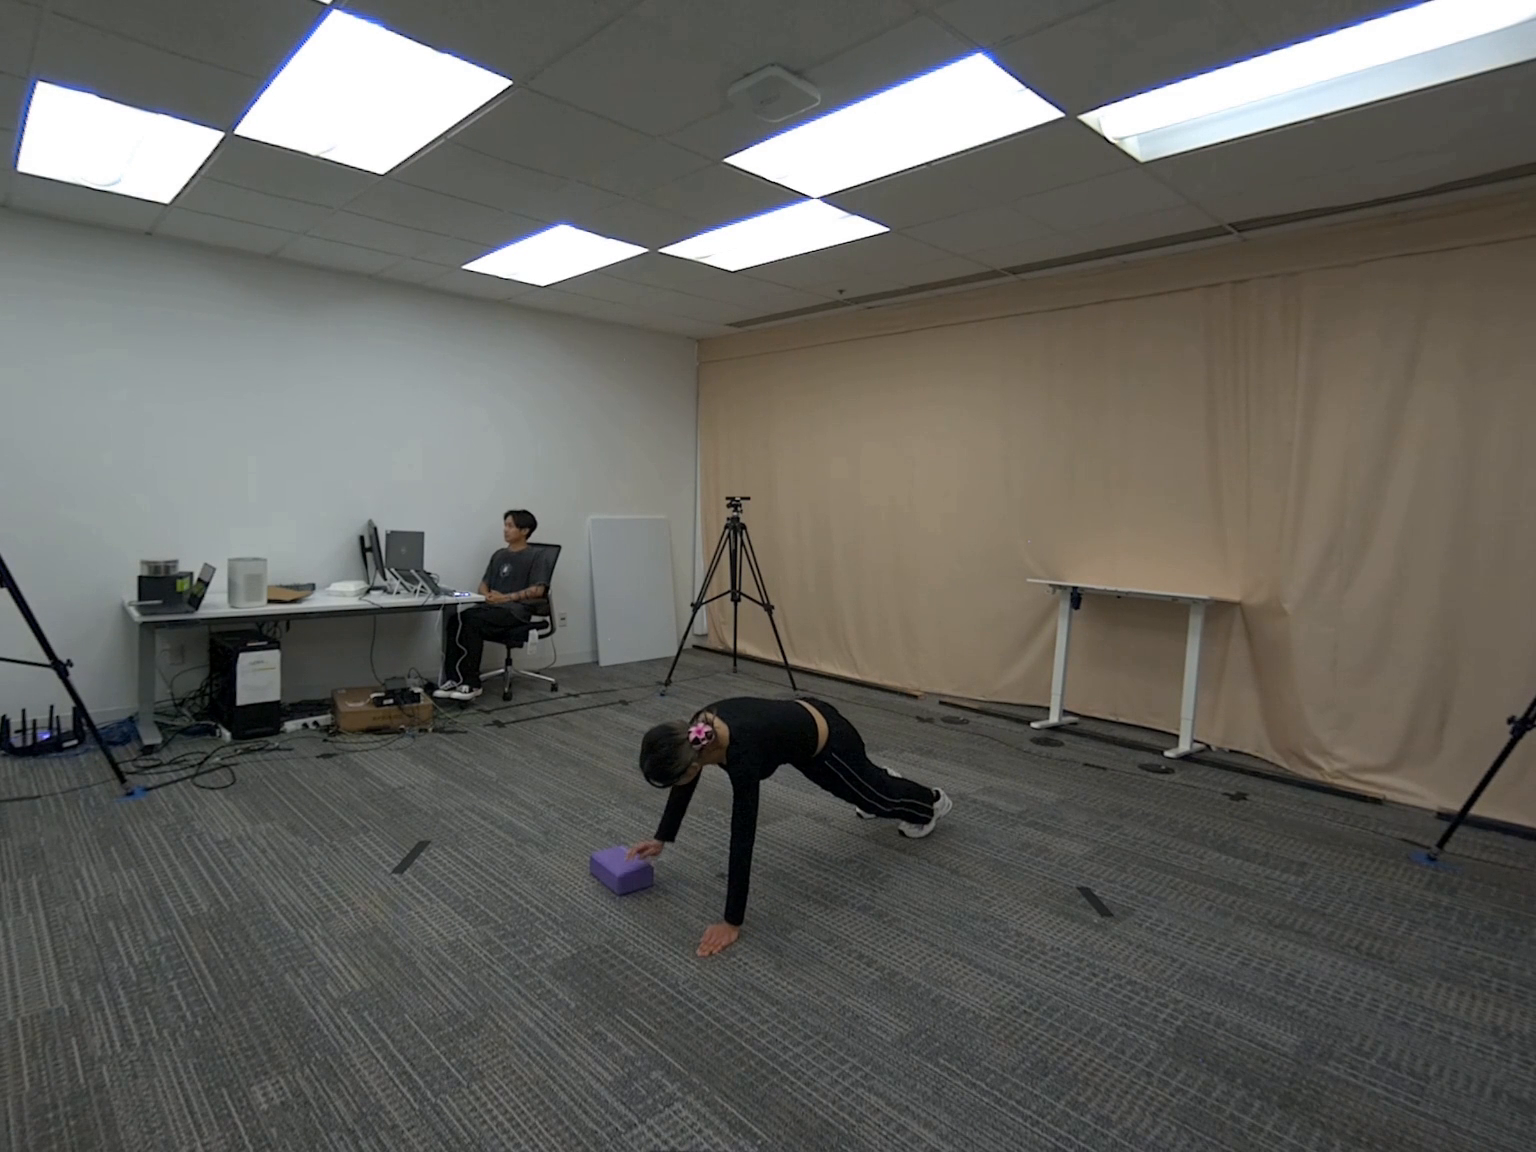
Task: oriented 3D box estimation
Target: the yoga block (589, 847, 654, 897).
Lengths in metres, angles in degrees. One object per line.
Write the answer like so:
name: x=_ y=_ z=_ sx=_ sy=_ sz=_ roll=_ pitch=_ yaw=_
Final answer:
yoga block: x=-0.537 y=1.063 z=3.049 sx=0.146 sy=0.076 sz=0.235 roll=-4 pitch=7 yaw=-37
